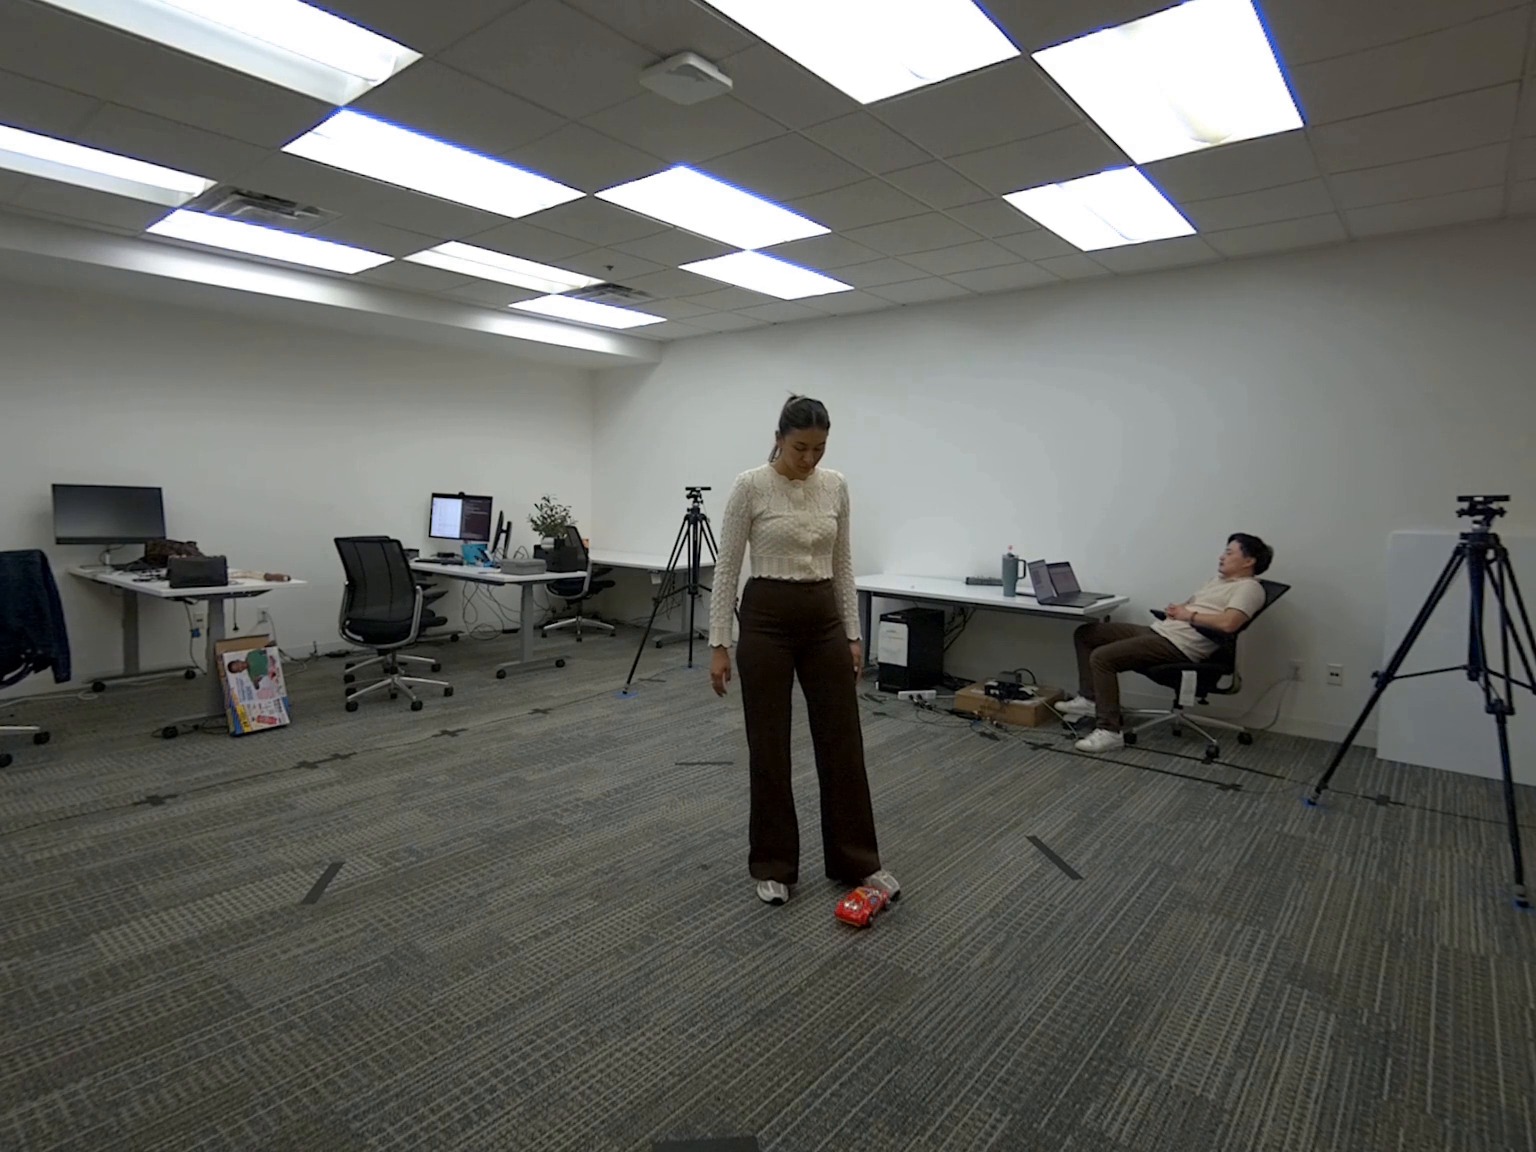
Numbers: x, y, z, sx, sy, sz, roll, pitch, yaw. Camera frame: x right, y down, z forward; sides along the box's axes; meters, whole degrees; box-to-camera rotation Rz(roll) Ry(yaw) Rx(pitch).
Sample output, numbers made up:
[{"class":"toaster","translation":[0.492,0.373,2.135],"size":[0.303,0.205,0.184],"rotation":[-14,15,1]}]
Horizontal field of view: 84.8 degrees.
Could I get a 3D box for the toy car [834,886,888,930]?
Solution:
[{"class":"toy car","translation":[0.299,1.076,2.780],"size":[0.134,0.083,0.246],"rotation":[5,-4,32]}]
